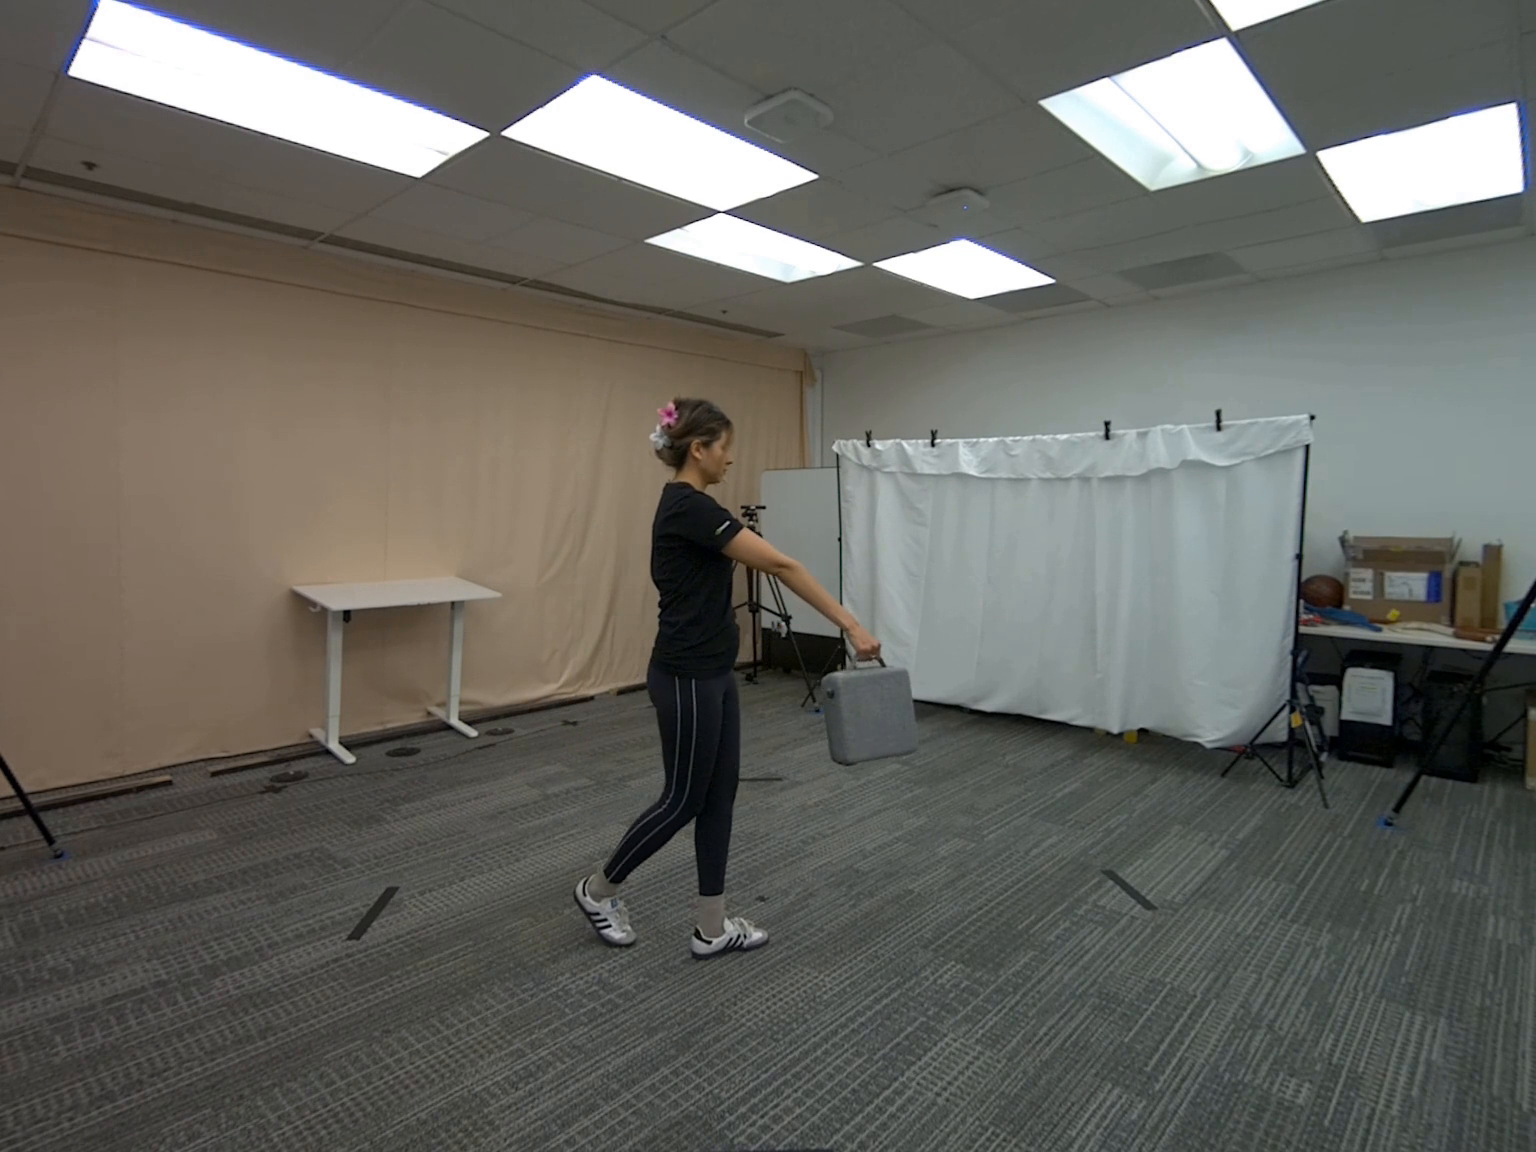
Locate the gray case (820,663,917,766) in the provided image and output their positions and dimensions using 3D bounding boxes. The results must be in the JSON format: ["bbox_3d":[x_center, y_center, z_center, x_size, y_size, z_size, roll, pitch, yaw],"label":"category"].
[{"bbox_3d":[0.294,0.387,2.387,0.252,0.261,0.106,-4,-5,-21],"label":"gray case"}]
